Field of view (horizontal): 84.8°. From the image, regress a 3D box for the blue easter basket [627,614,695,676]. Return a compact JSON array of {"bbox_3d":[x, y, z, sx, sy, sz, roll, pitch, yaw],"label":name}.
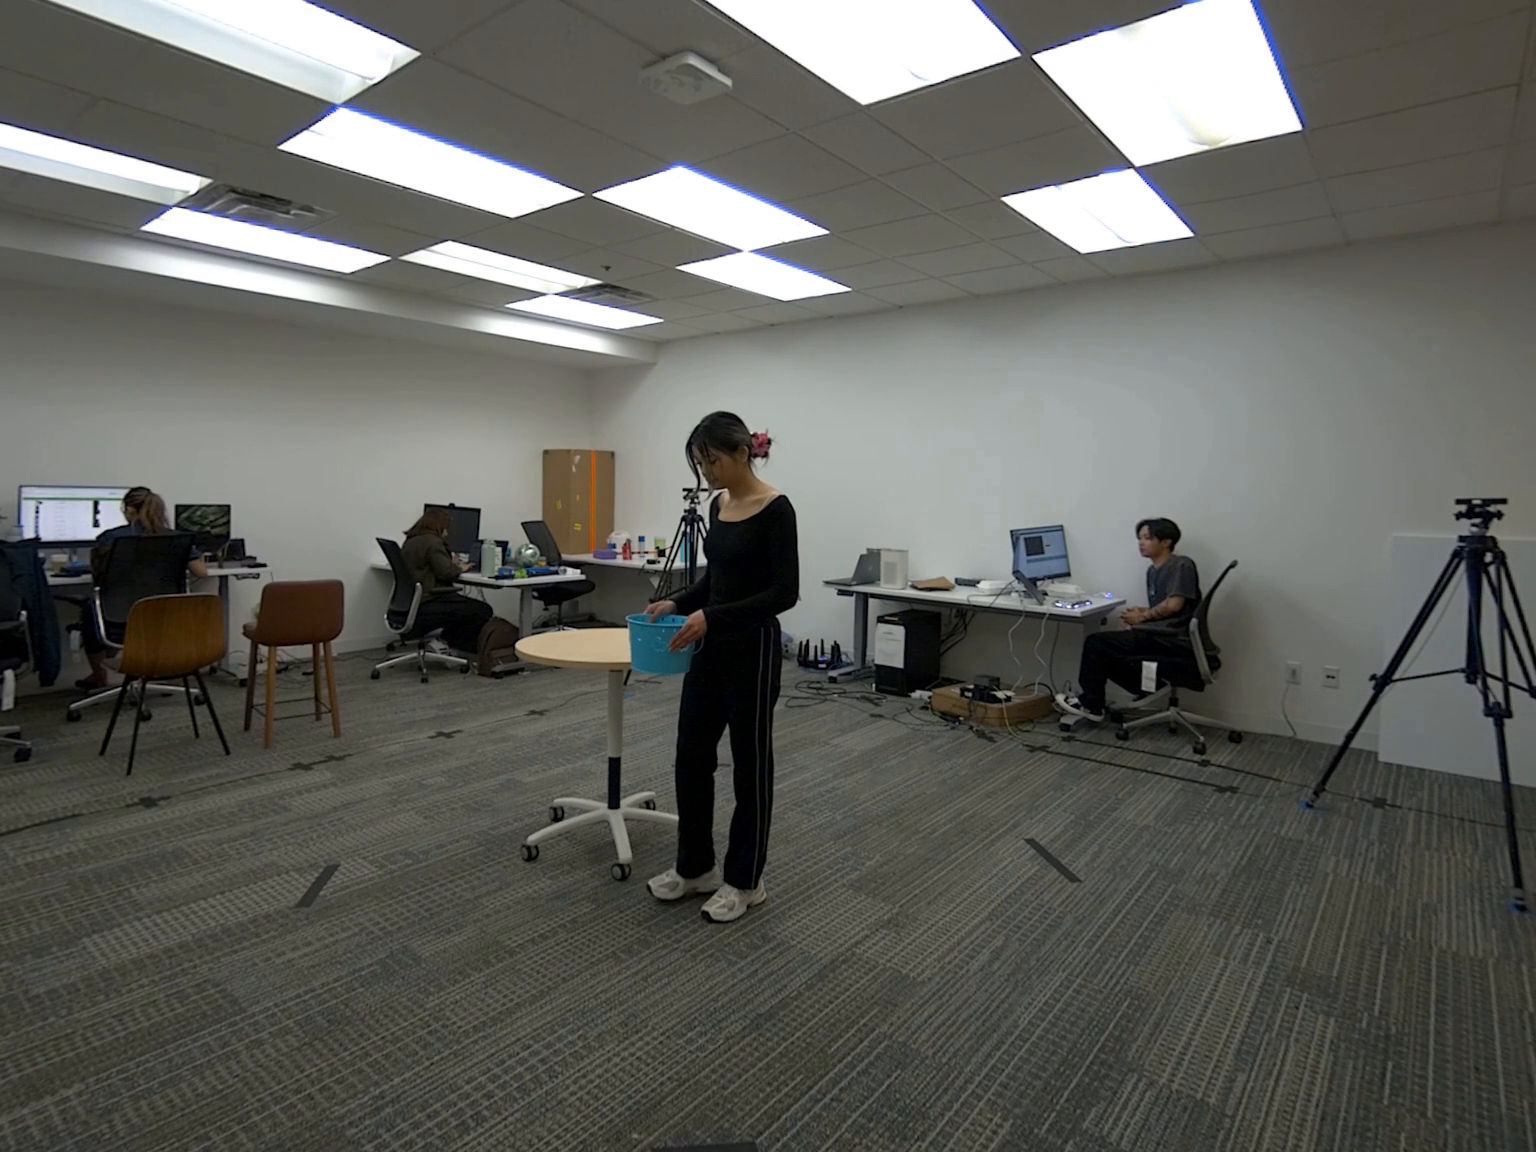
[{"bbox_3d":[-0.326,0.215,2.624,0.243,0.155,0.245,3,5,-2],"label":"blue easter basket"}]
